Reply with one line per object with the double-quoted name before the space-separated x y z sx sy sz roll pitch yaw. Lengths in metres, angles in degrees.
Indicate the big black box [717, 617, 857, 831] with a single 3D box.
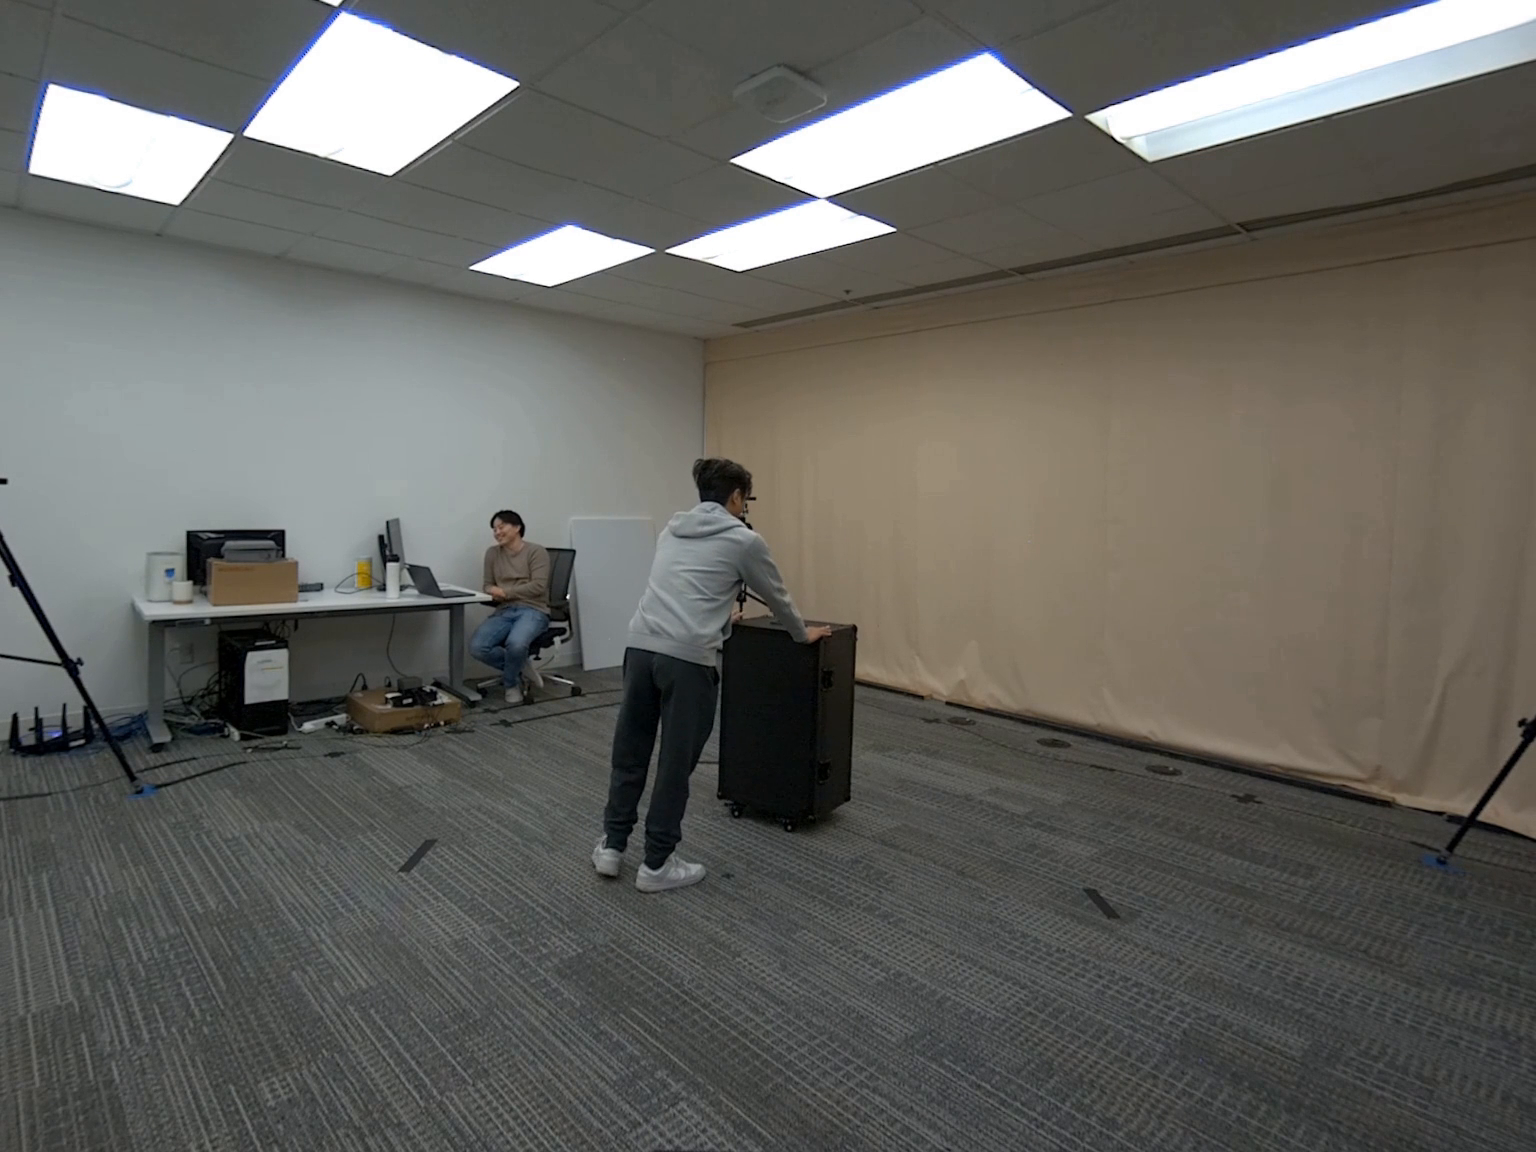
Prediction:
"big black box" 0.076 0.632 3.724 0.533 0.860 0.388 4 3 33
